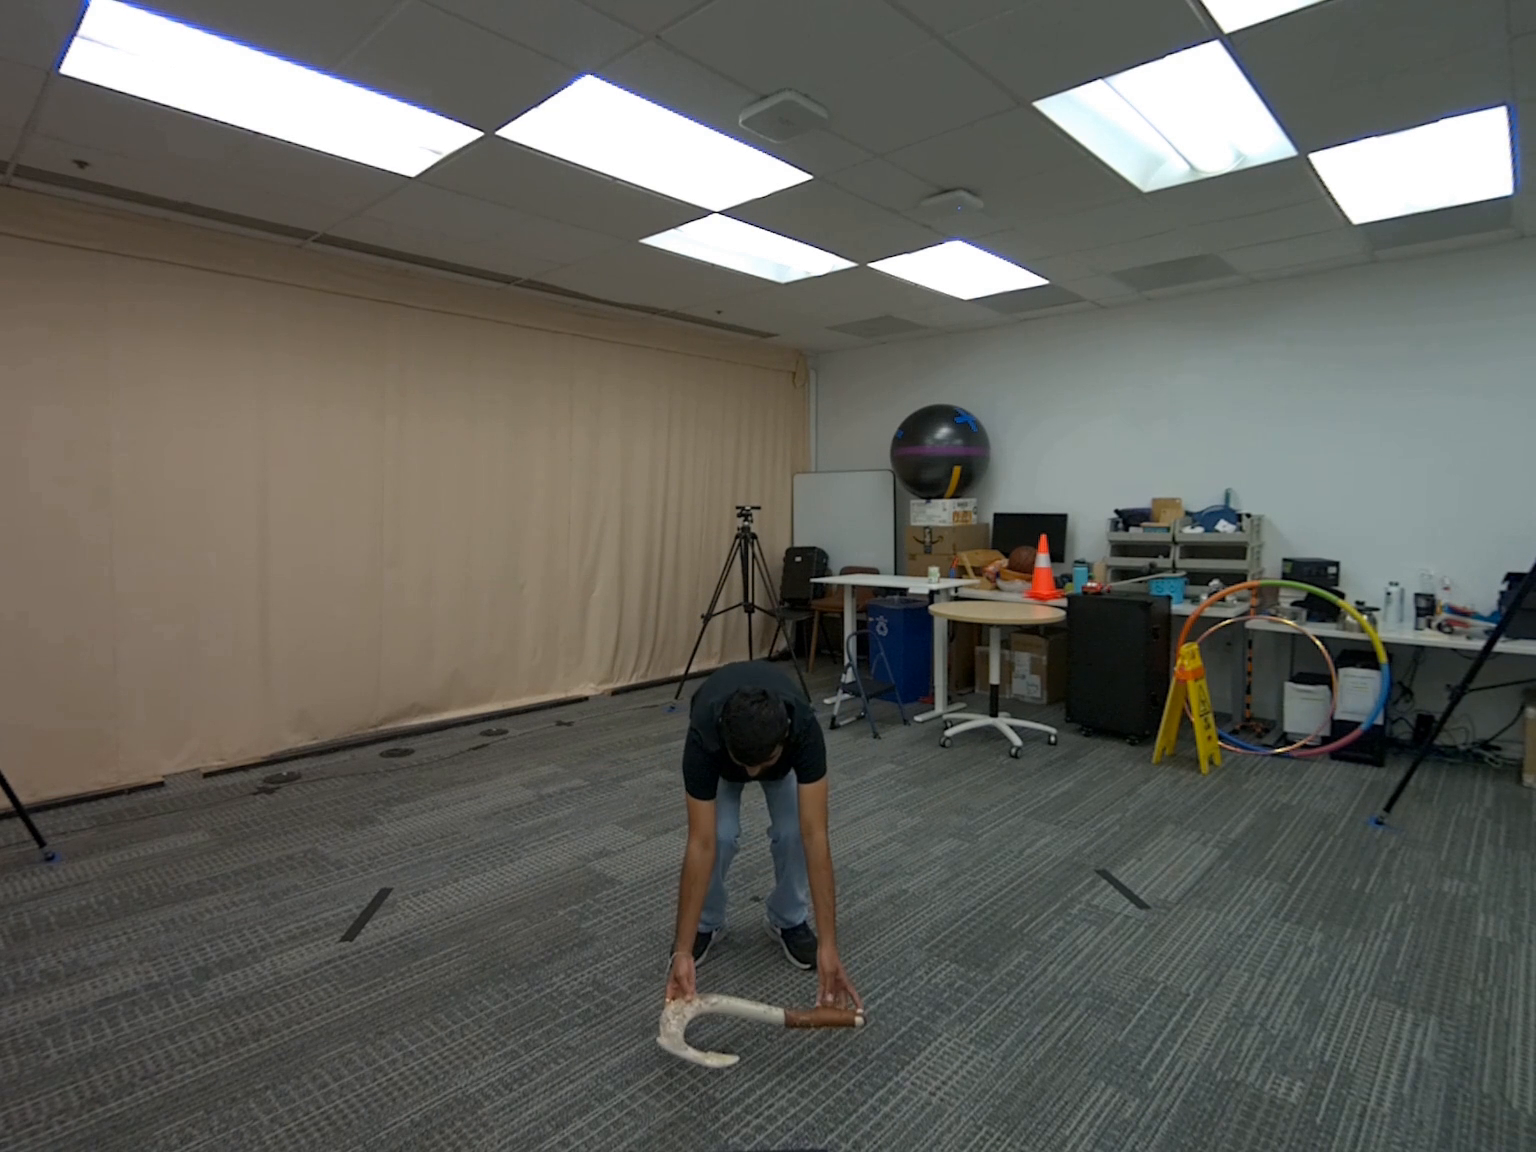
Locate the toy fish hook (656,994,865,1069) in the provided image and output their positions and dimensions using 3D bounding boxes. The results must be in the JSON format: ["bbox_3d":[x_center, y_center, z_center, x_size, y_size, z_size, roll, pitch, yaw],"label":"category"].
[{"bbox_3d":[-0.007,1.098,2.040,0.508,0.048,0.226,1,17,1],"label":"toy fish hook"}]
